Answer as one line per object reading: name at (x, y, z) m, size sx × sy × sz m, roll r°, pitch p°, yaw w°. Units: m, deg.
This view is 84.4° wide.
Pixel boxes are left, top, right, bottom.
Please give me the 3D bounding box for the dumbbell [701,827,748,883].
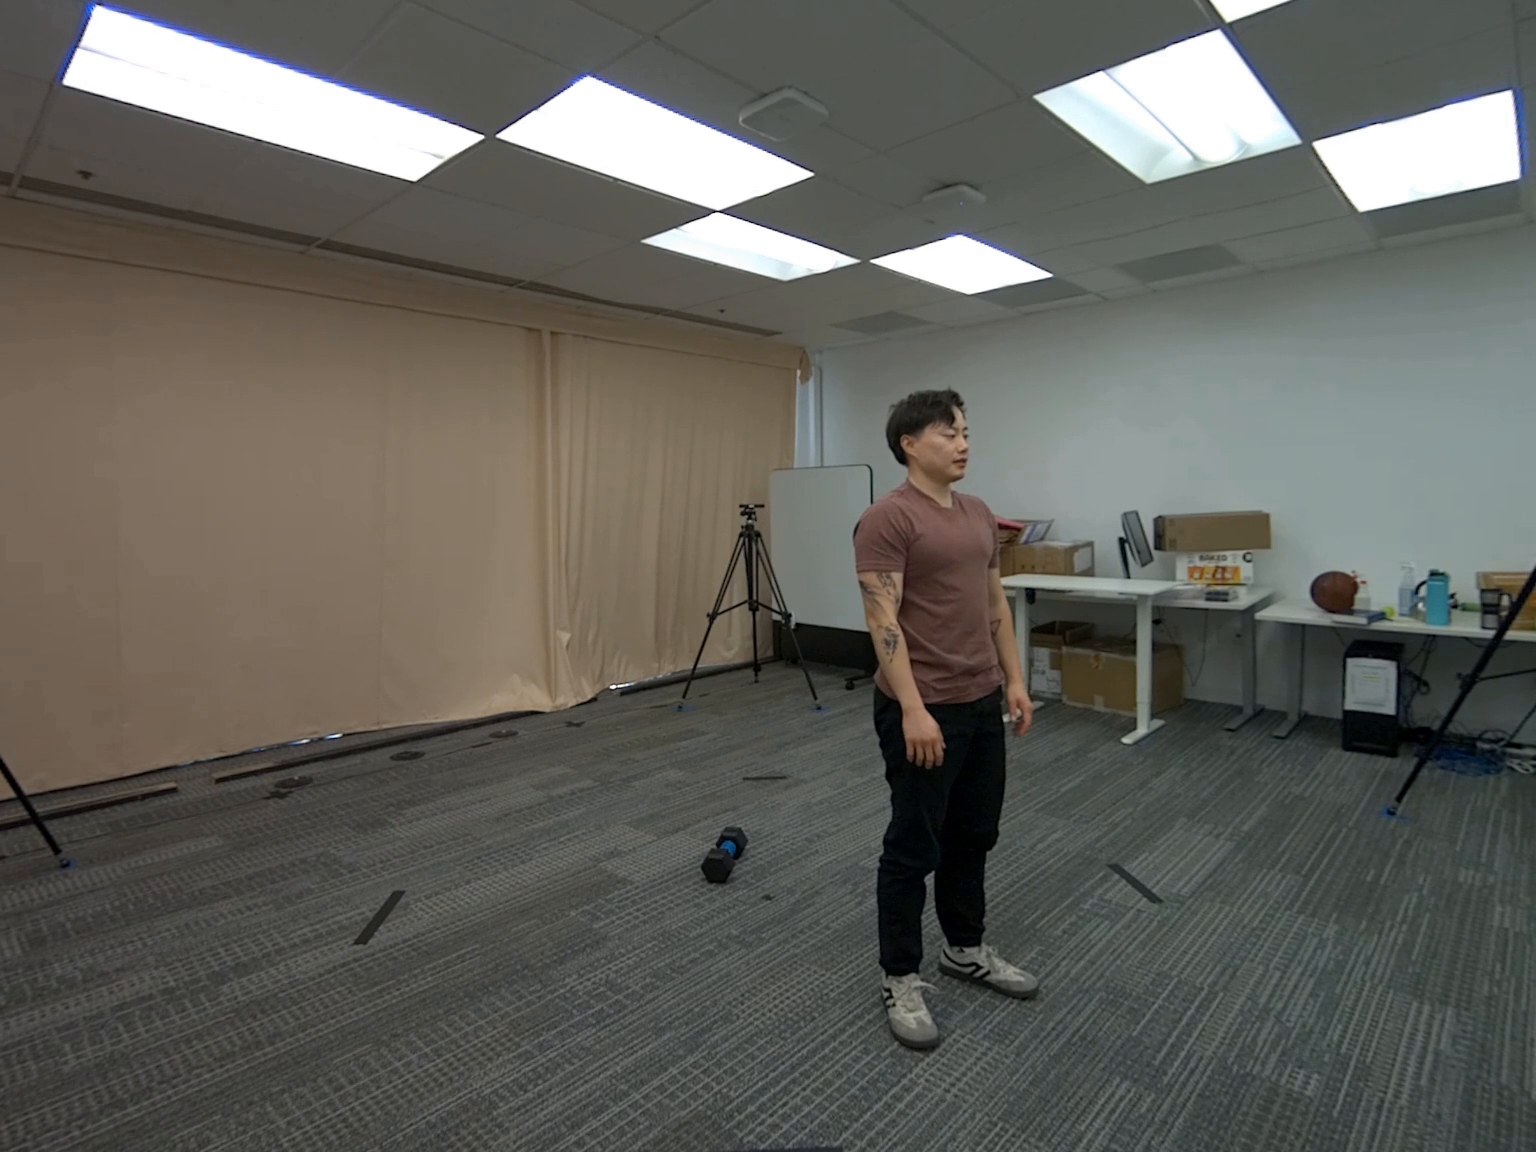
dumbbell at (-0.164, 1.065, 3.232) m, size 0.110 × 0.123 × 0.290 m, roll 33°, pitch 11°, yaw 8°
